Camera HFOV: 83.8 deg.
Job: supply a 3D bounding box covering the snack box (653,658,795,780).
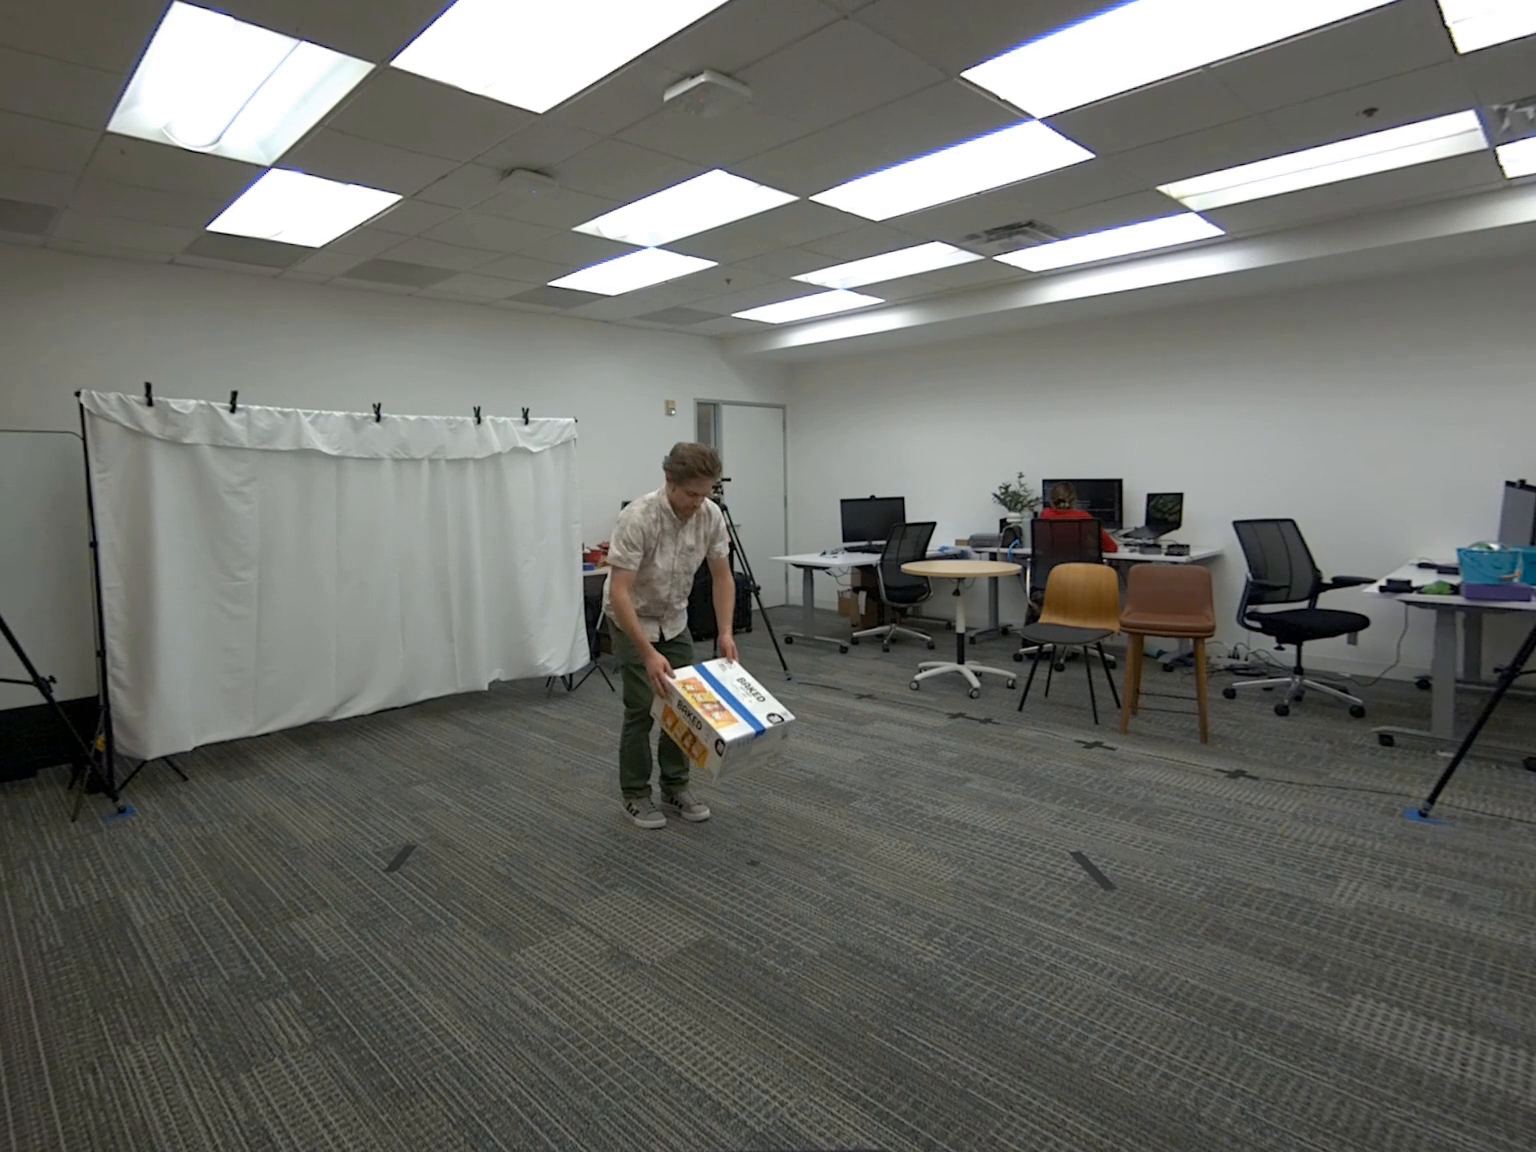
[{"bbox_3d":[-0.175,0.532,3.208,0.332,0.203,0.421,-9,37,-40],"label":"snack box"}]
